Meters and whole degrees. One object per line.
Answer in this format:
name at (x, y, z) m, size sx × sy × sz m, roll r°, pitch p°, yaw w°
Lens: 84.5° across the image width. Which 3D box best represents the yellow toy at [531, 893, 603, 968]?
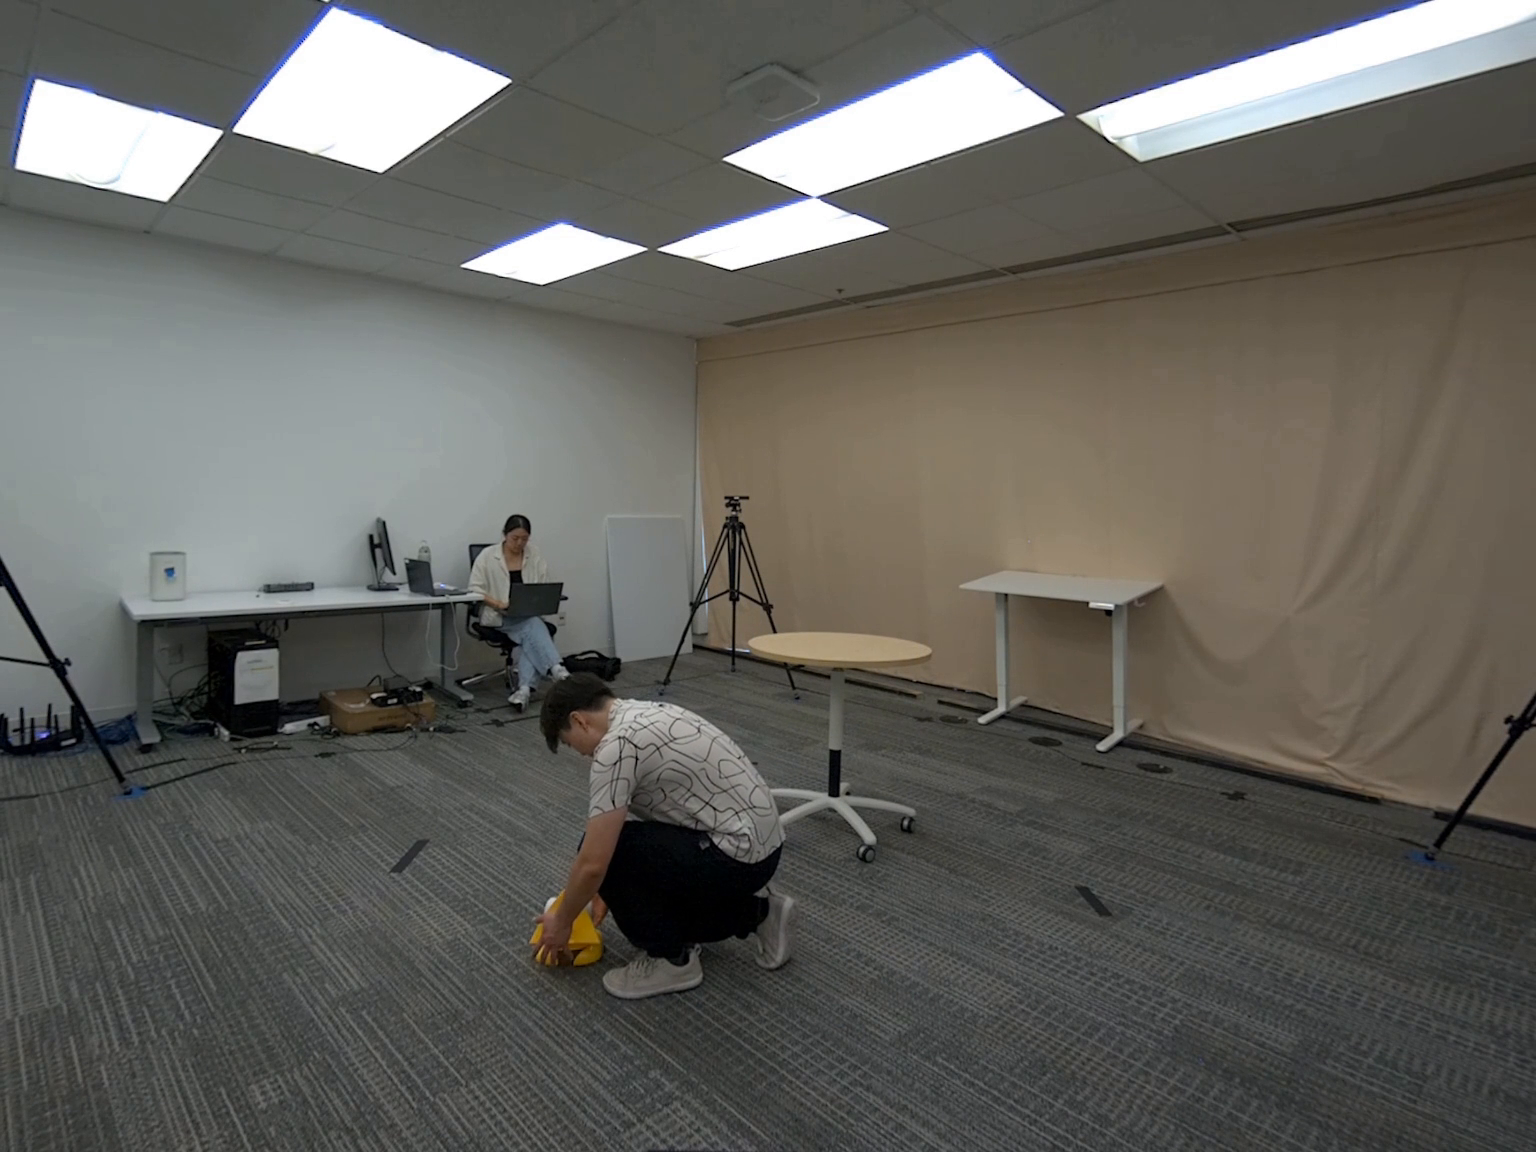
yellow toy at (-0.600, 1.025, 2.552) m, size 0.204 × 0.230 × 0.194 m, roll 1°, pitch 5°, yaw -3°
